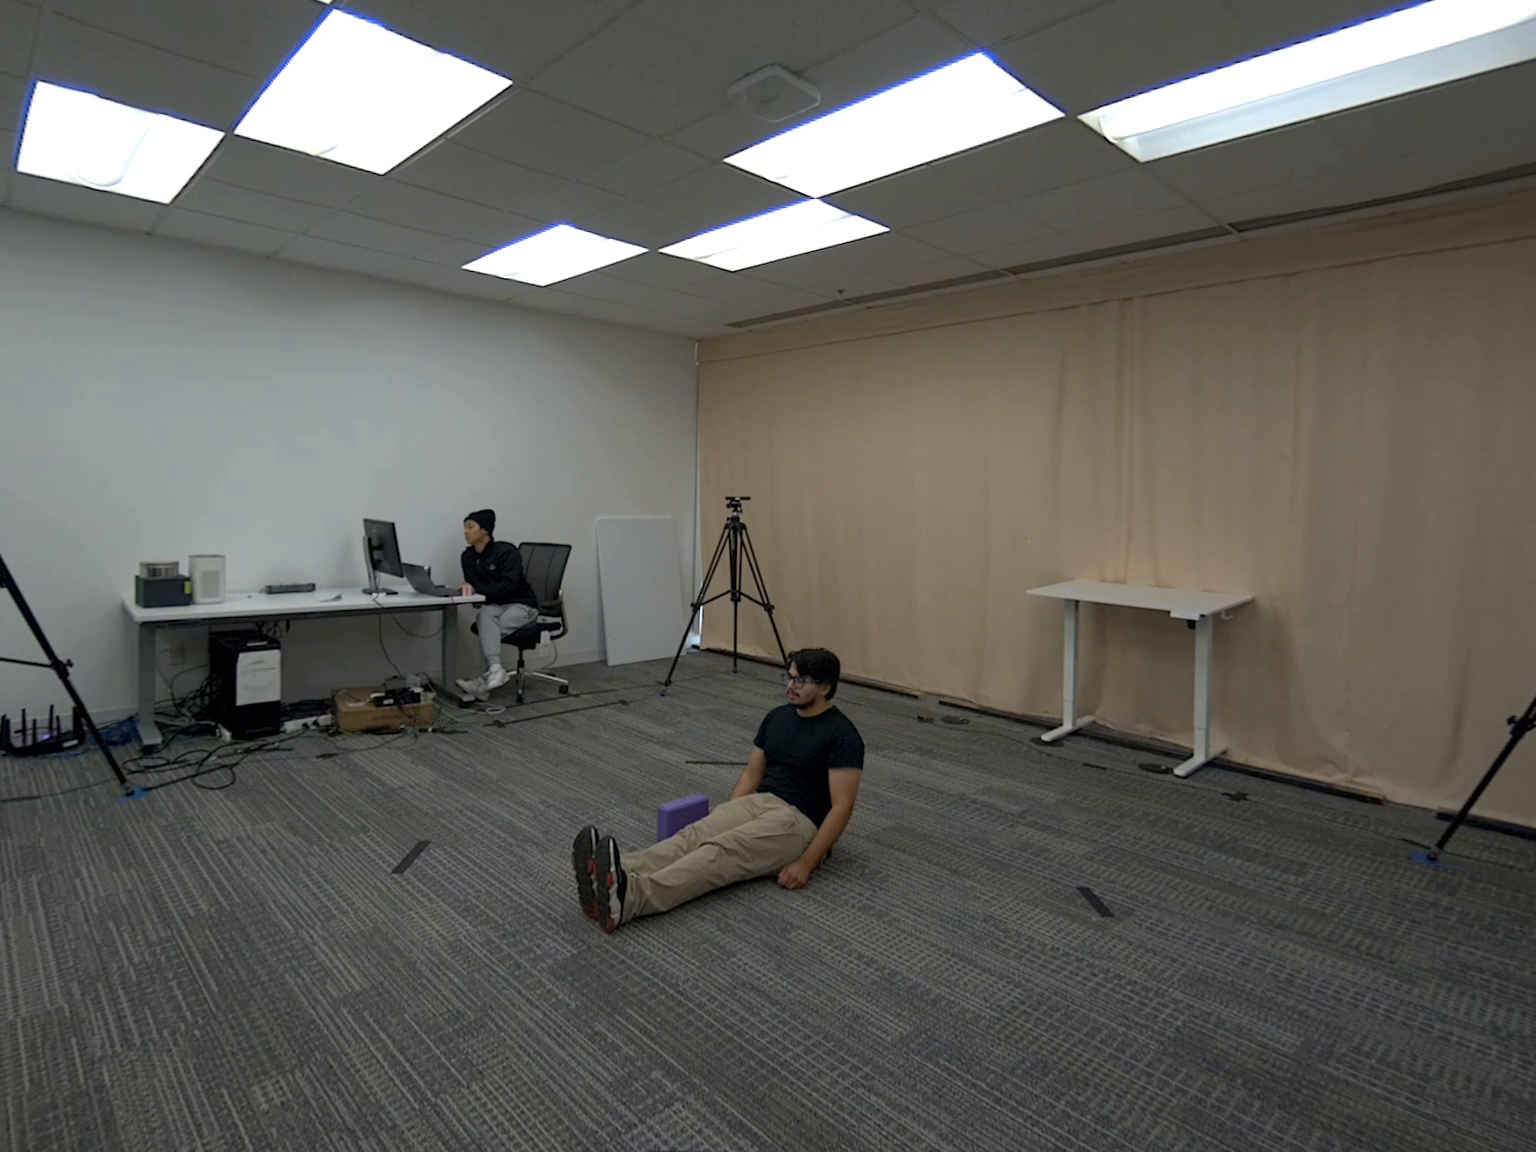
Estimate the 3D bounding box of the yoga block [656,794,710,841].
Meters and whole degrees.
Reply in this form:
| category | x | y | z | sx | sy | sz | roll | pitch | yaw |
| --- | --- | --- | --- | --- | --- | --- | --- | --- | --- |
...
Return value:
| category | x | y | z | sx | sy | sz | roll | pitch | yaw |
| --- | --- | --- | --- | --- | --- | --- | --- | --- | --- |
| yoga block | -0.352 | 0.990 | 3.461 | 0.078 | 0.148 | 0.224 | 3 | 5 | 44 |
